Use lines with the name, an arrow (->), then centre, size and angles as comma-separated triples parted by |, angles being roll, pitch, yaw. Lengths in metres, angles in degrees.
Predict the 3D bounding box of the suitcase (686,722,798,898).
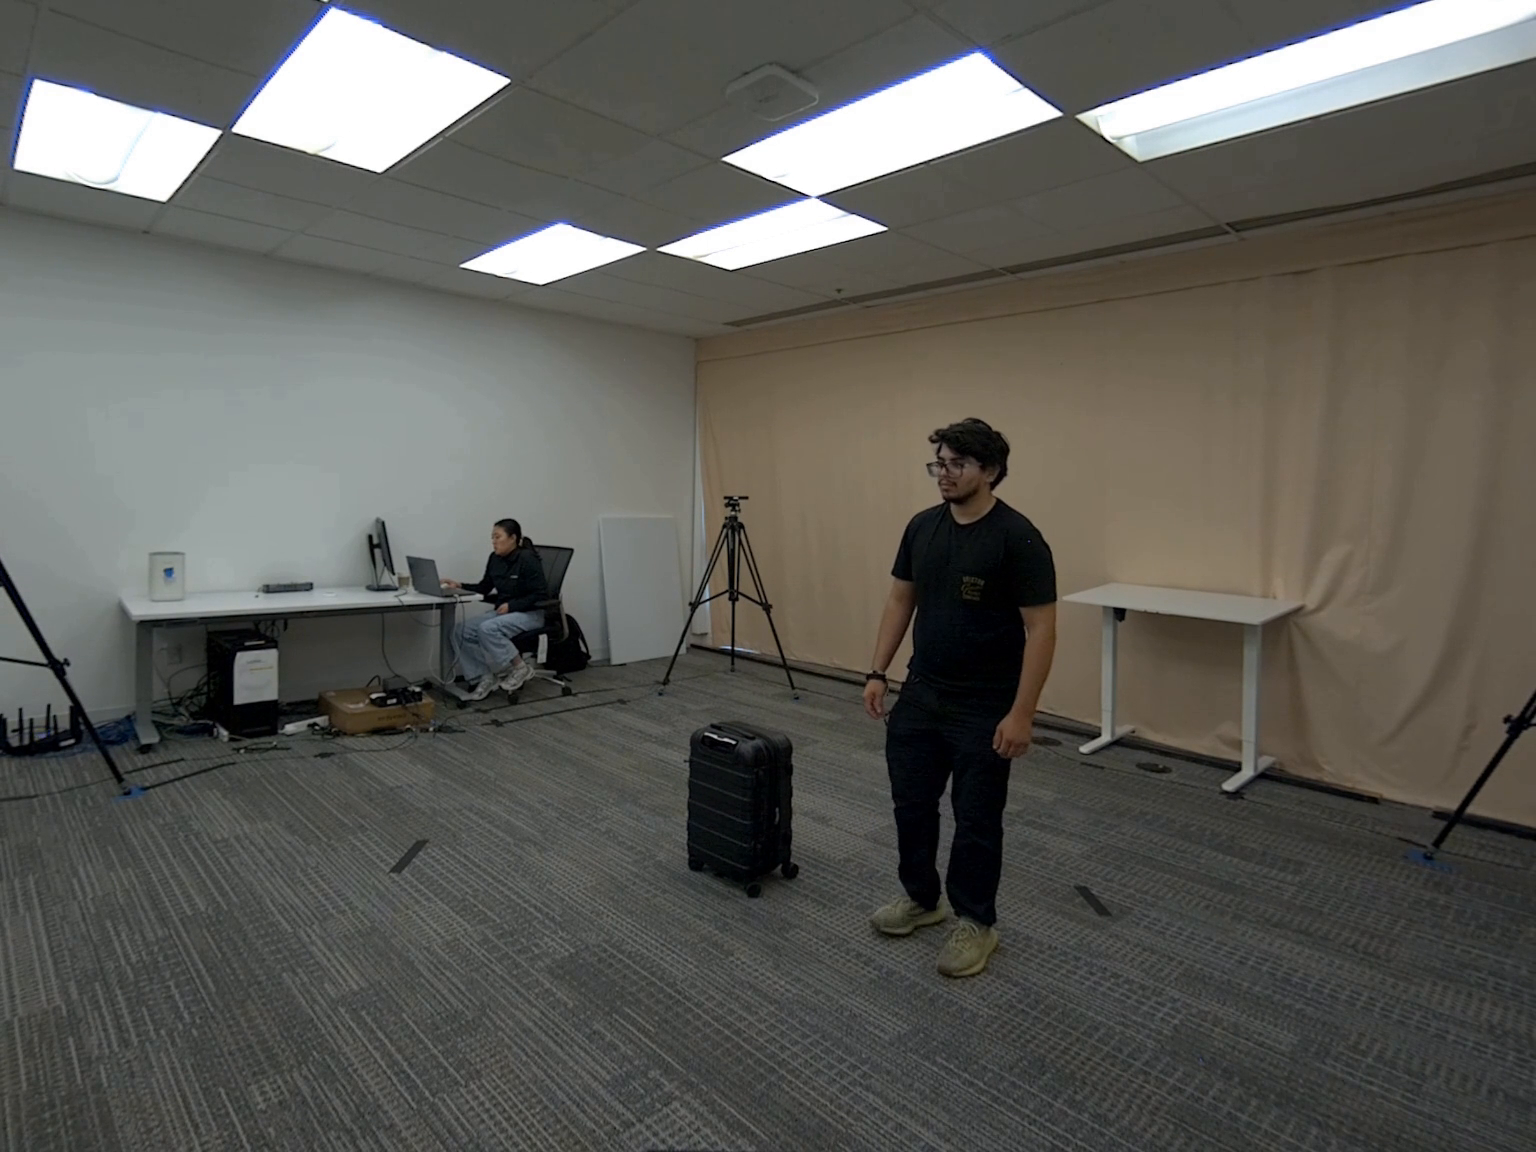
suitcase -> -0.108, 0.829, 3.110 | 0.385, 0.548, 0.243 | 4, 5, 44
